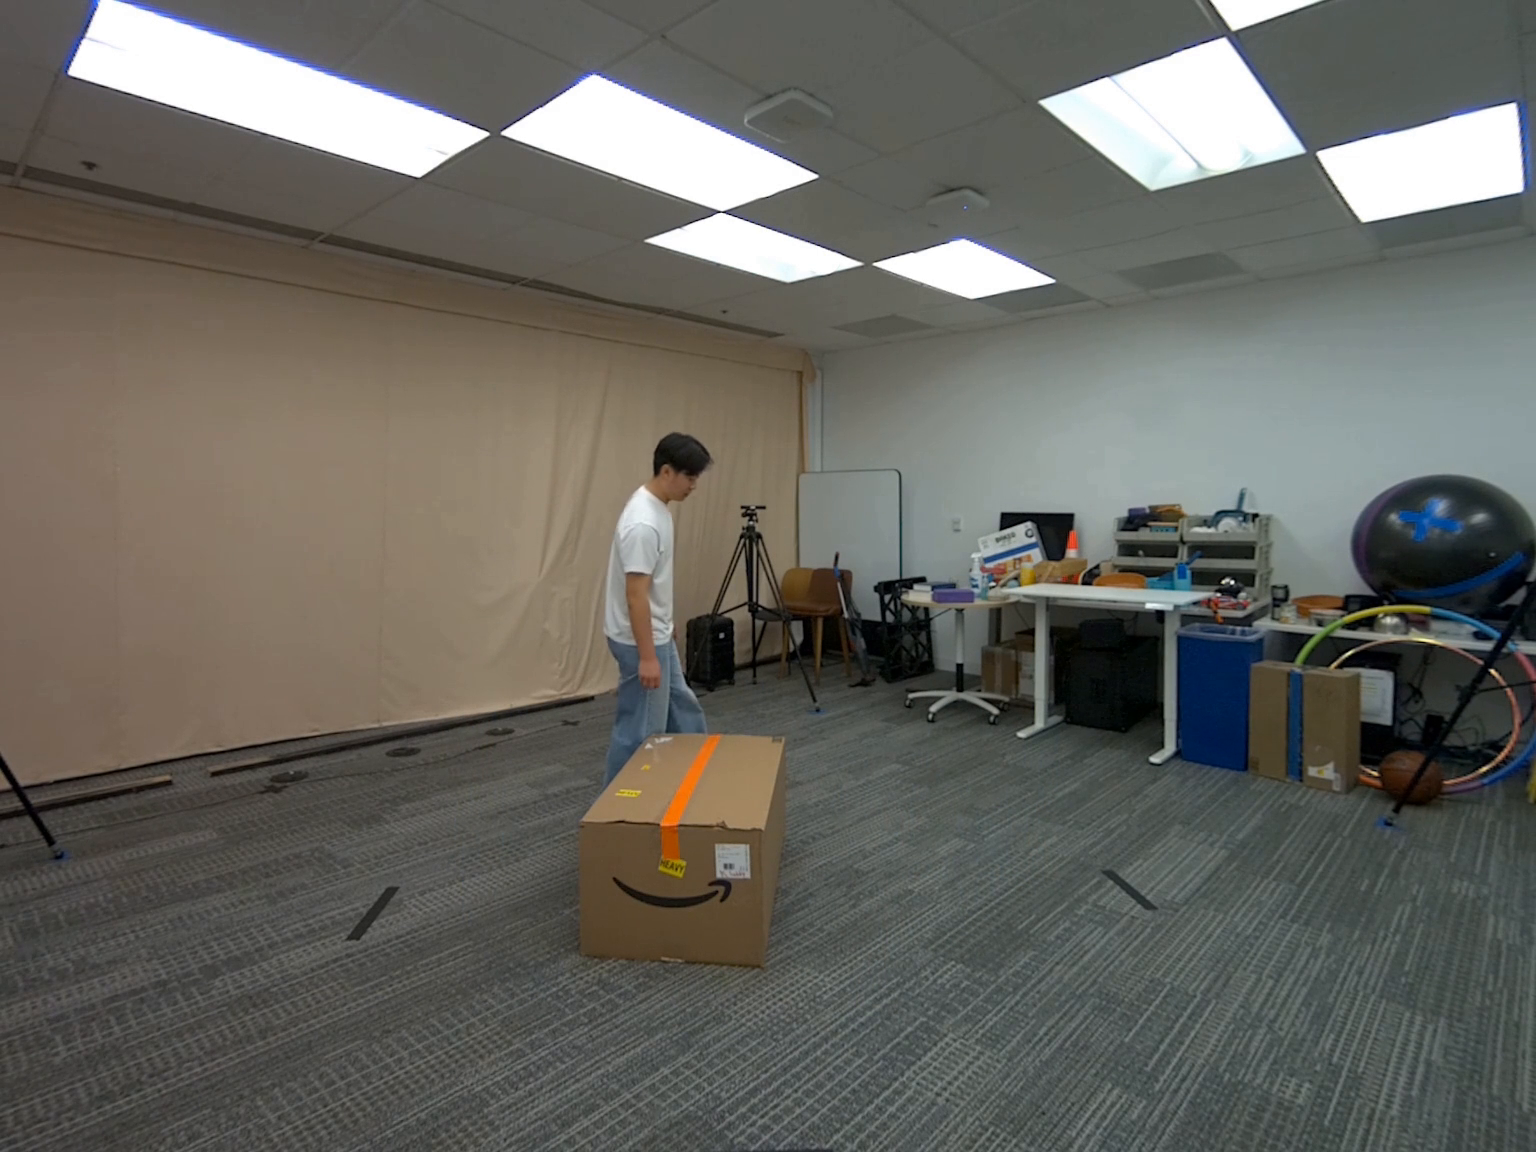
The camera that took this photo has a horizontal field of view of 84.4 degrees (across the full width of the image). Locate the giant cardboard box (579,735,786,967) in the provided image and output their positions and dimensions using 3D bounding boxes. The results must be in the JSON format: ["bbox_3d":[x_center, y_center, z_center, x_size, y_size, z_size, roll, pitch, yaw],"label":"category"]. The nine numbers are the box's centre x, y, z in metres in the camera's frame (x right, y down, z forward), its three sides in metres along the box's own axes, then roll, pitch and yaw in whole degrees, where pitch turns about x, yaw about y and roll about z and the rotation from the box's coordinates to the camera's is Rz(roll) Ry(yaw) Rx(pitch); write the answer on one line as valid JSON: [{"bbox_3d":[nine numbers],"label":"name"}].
[{"bbox_3d":[-0.251,0.921,3.057,0.582,0.425,1.021,-1,4,5],"label":"giant cardboard box"}]
